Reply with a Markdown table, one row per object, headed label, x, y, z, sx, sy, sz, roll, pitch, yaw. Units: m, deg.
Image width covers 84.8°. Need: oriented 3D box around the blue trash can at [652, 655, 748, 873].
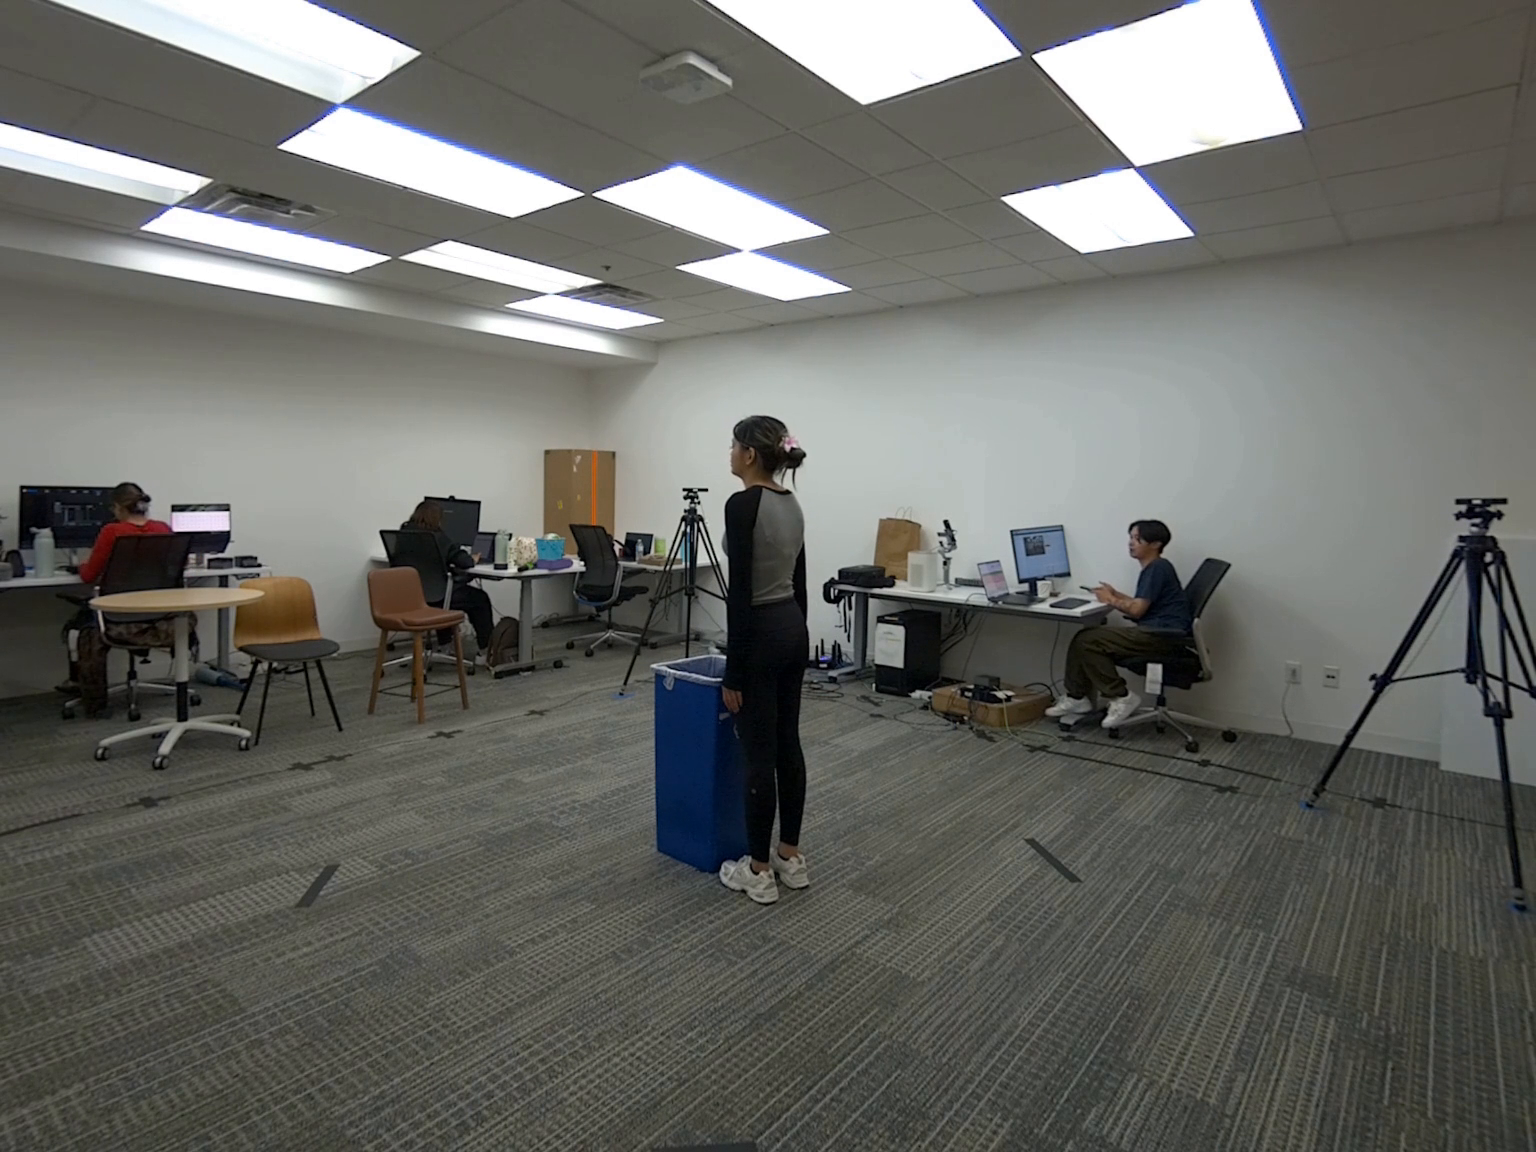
| label | x | y | z | sx | sy | sz | roll | pitch | yaw |
| --- | --- | --- | --- | --- | --- | --- | --- | --- | --- |
| blue trash can | -0.225 | 0.696 | 3.268 | 0.391 | 0.712 | 0.363 | 4 | 4 | 40 |
